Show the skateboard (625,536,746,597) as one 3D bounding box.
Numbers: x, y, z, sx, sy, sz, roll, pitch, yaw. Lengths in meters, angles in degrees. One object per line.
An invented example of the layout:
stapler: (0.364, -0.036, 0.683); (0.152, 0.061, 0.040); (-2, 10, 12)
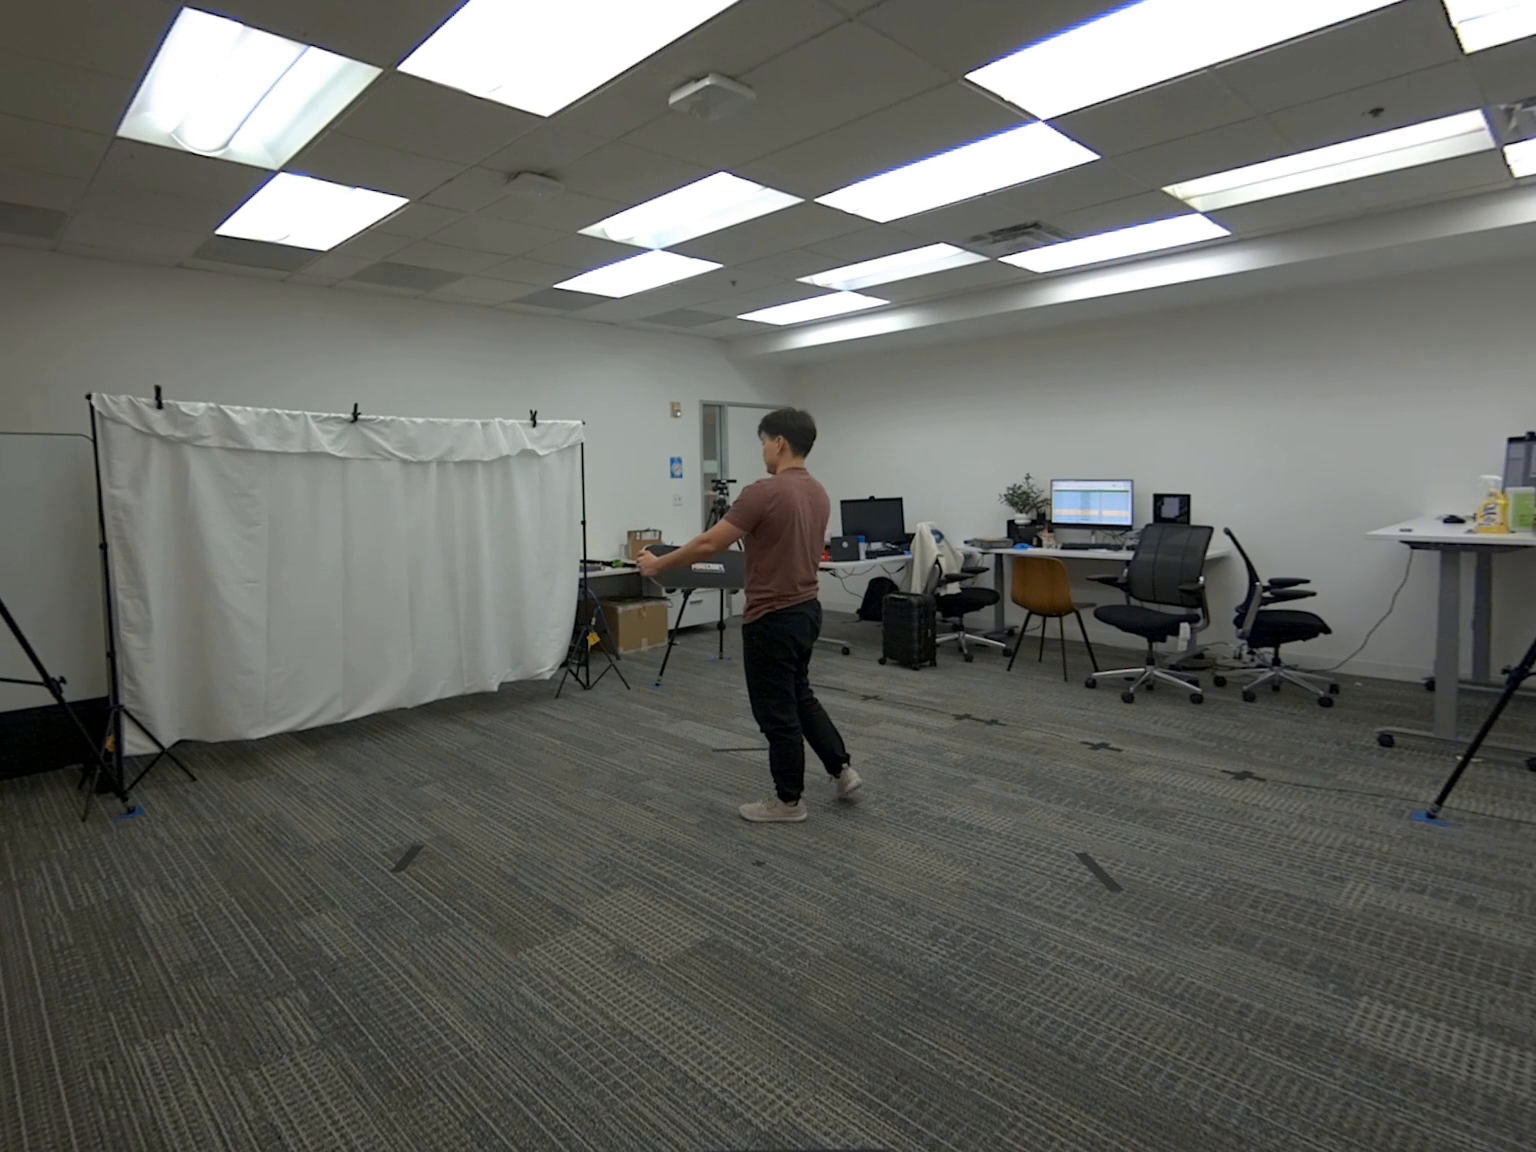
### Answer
skateboard: (-0.273, -0.030, 3.737); (0.111, 0.198, 0.761); (-33, -23, 33)
